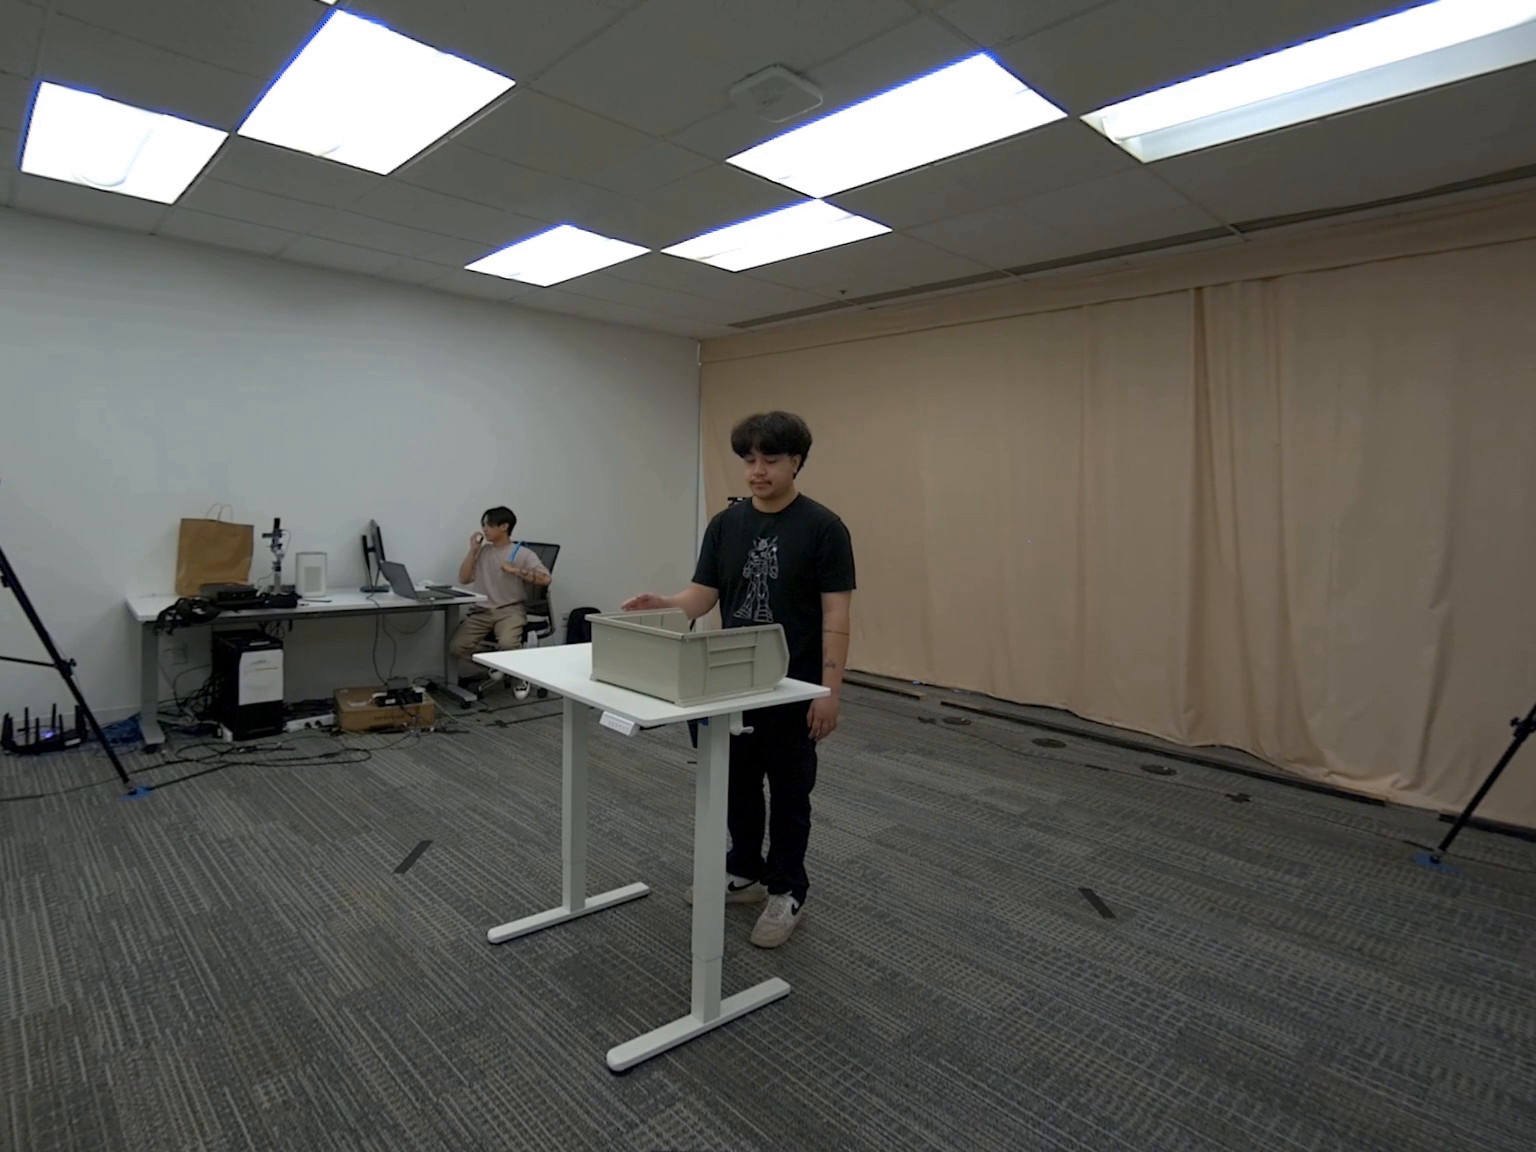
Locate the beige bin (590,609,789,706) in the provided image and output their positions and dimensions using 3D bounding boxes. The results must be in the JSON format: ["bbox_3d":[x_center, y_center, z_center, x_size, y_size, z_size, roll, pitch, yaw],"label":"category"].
[{"bbox_3d":[-0.229,0.213,2.275,0.369,0.188,0.433,-3,7,-43],"label":"beige bin"}]
